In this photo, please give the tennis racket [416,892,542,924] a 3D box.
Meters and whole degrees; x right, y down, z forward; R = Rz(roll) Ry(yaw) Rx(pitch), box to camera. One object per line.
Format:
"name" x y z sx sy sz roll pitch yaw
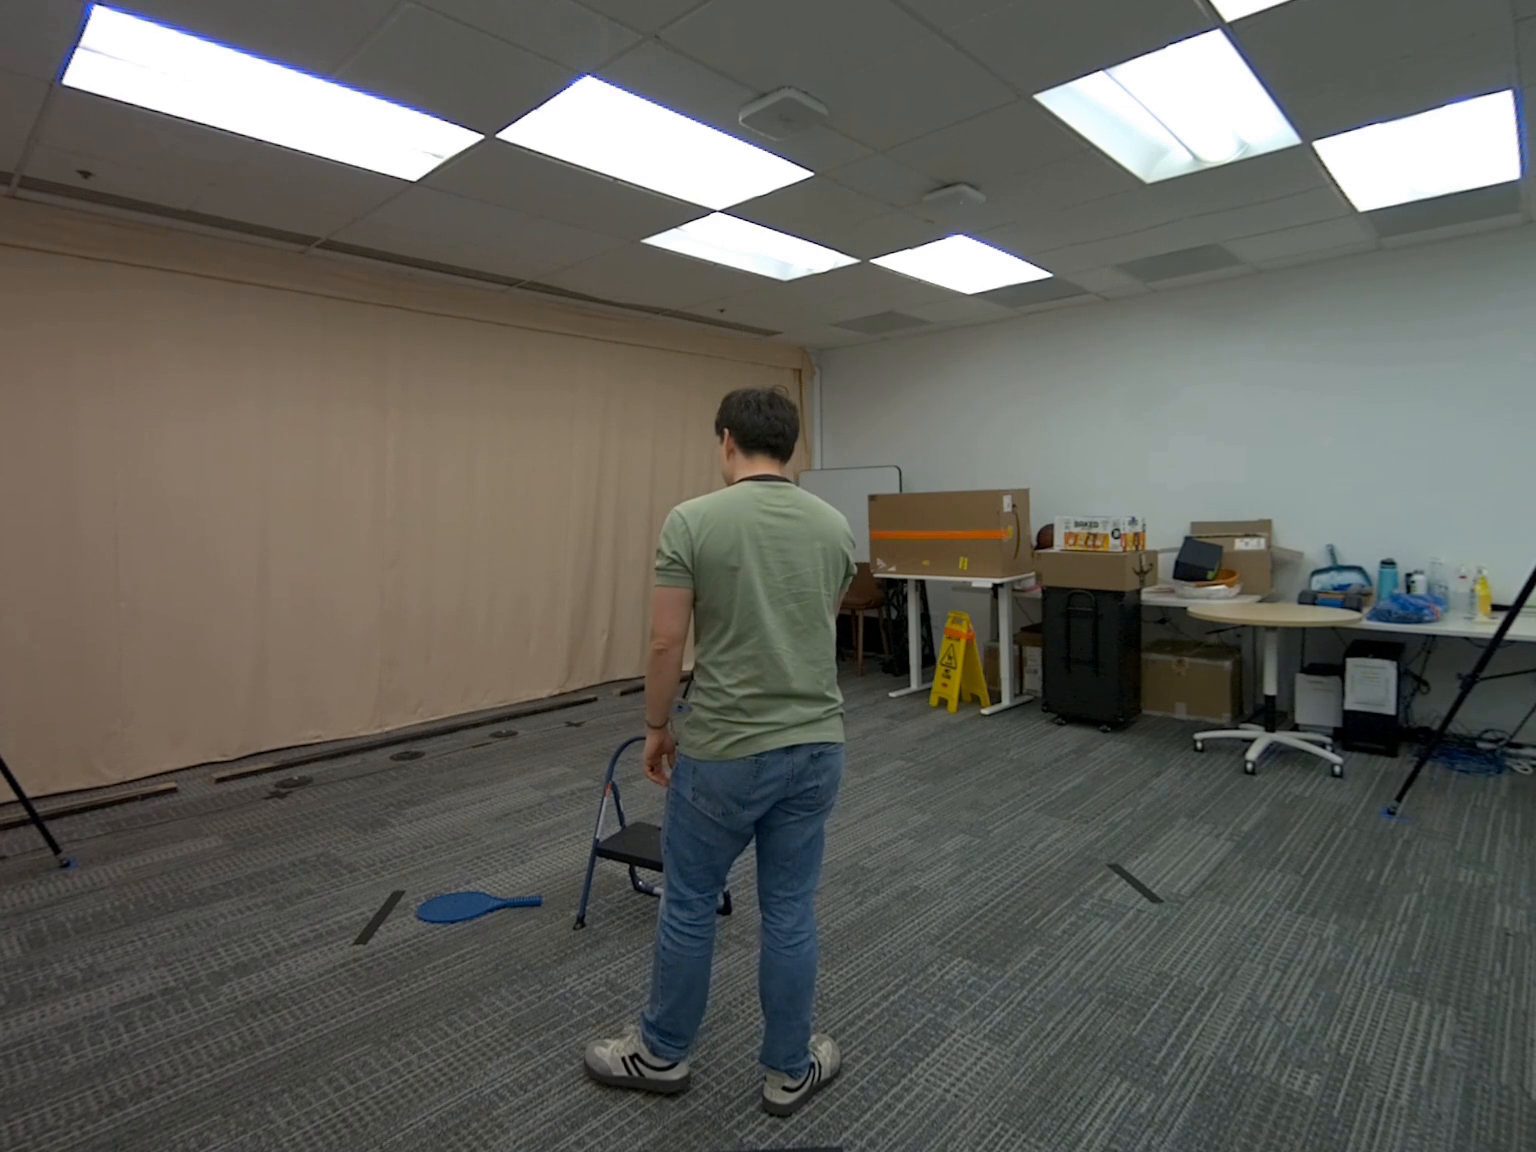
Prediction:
"tennis racket" -1.016 1.161 2.951 0.432 0.031 0.214 -3 5 -1
